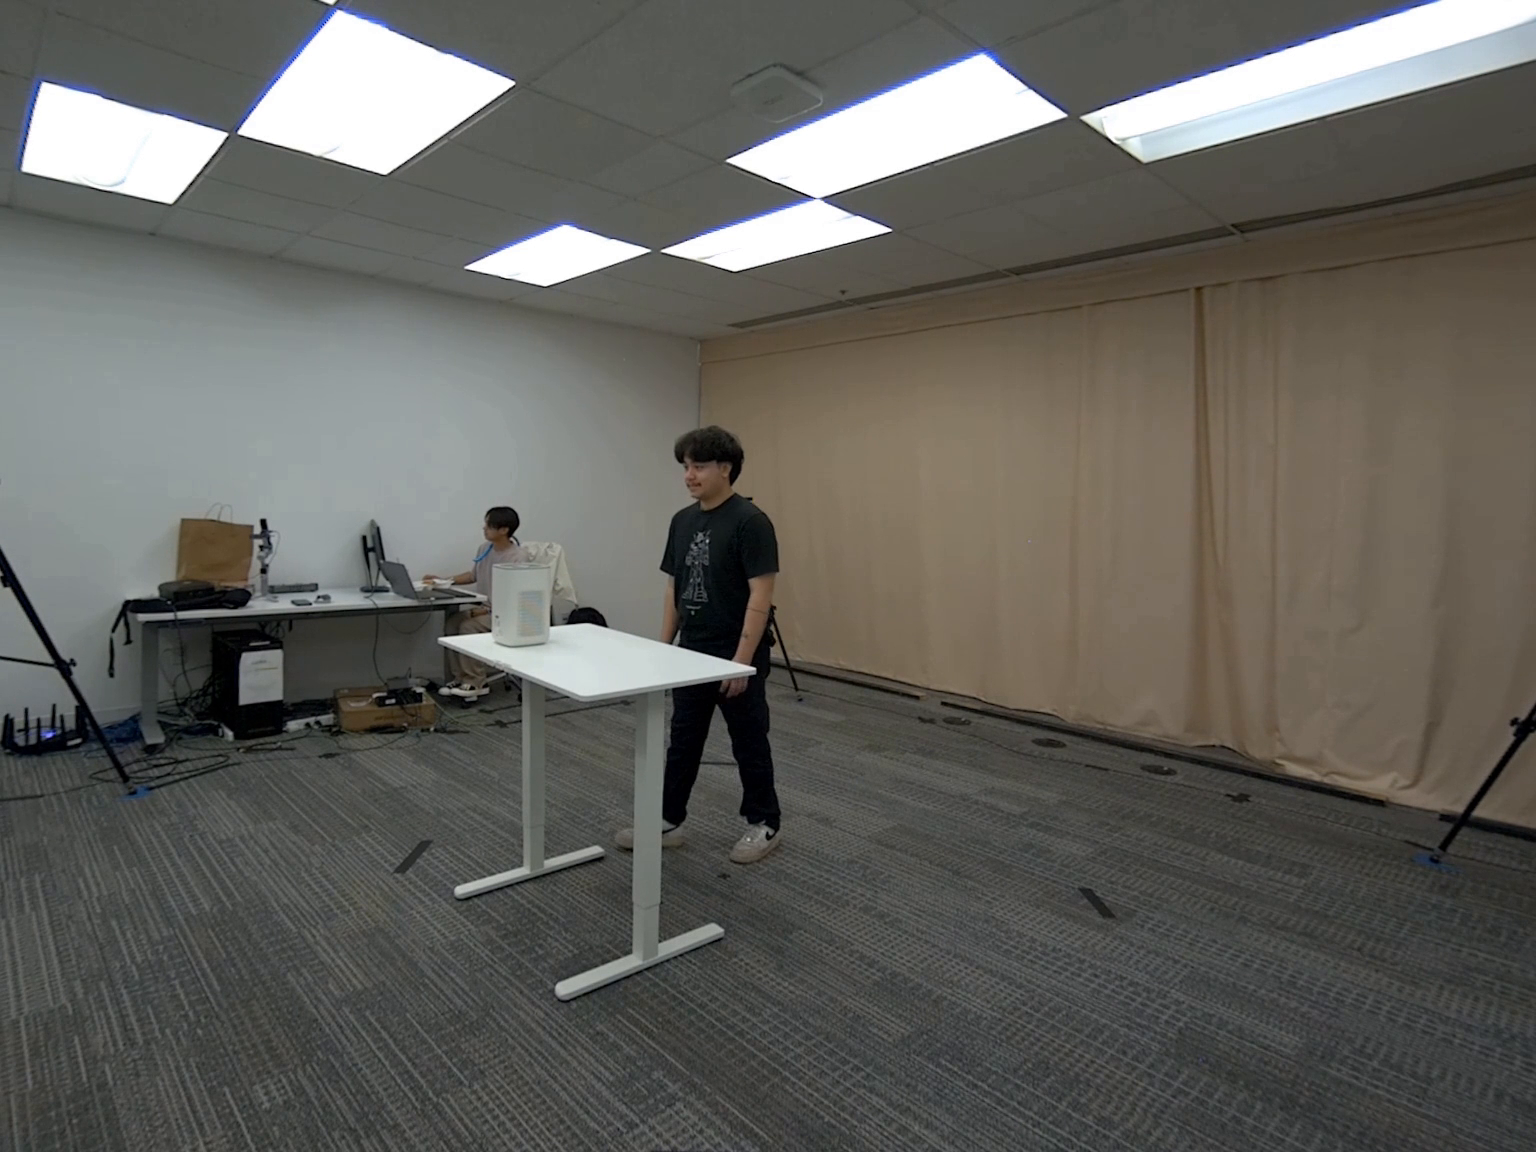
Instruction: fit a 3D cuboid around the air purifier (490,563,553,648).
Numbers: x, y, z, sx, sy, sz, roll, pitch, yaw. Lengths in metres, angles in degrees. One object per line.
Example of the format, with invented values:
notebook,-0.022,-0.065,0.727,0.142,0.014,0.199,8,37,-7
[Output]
air purifier,-0.851,0.096,2.855,0.168,0.264,0.175,-4,8,-40
